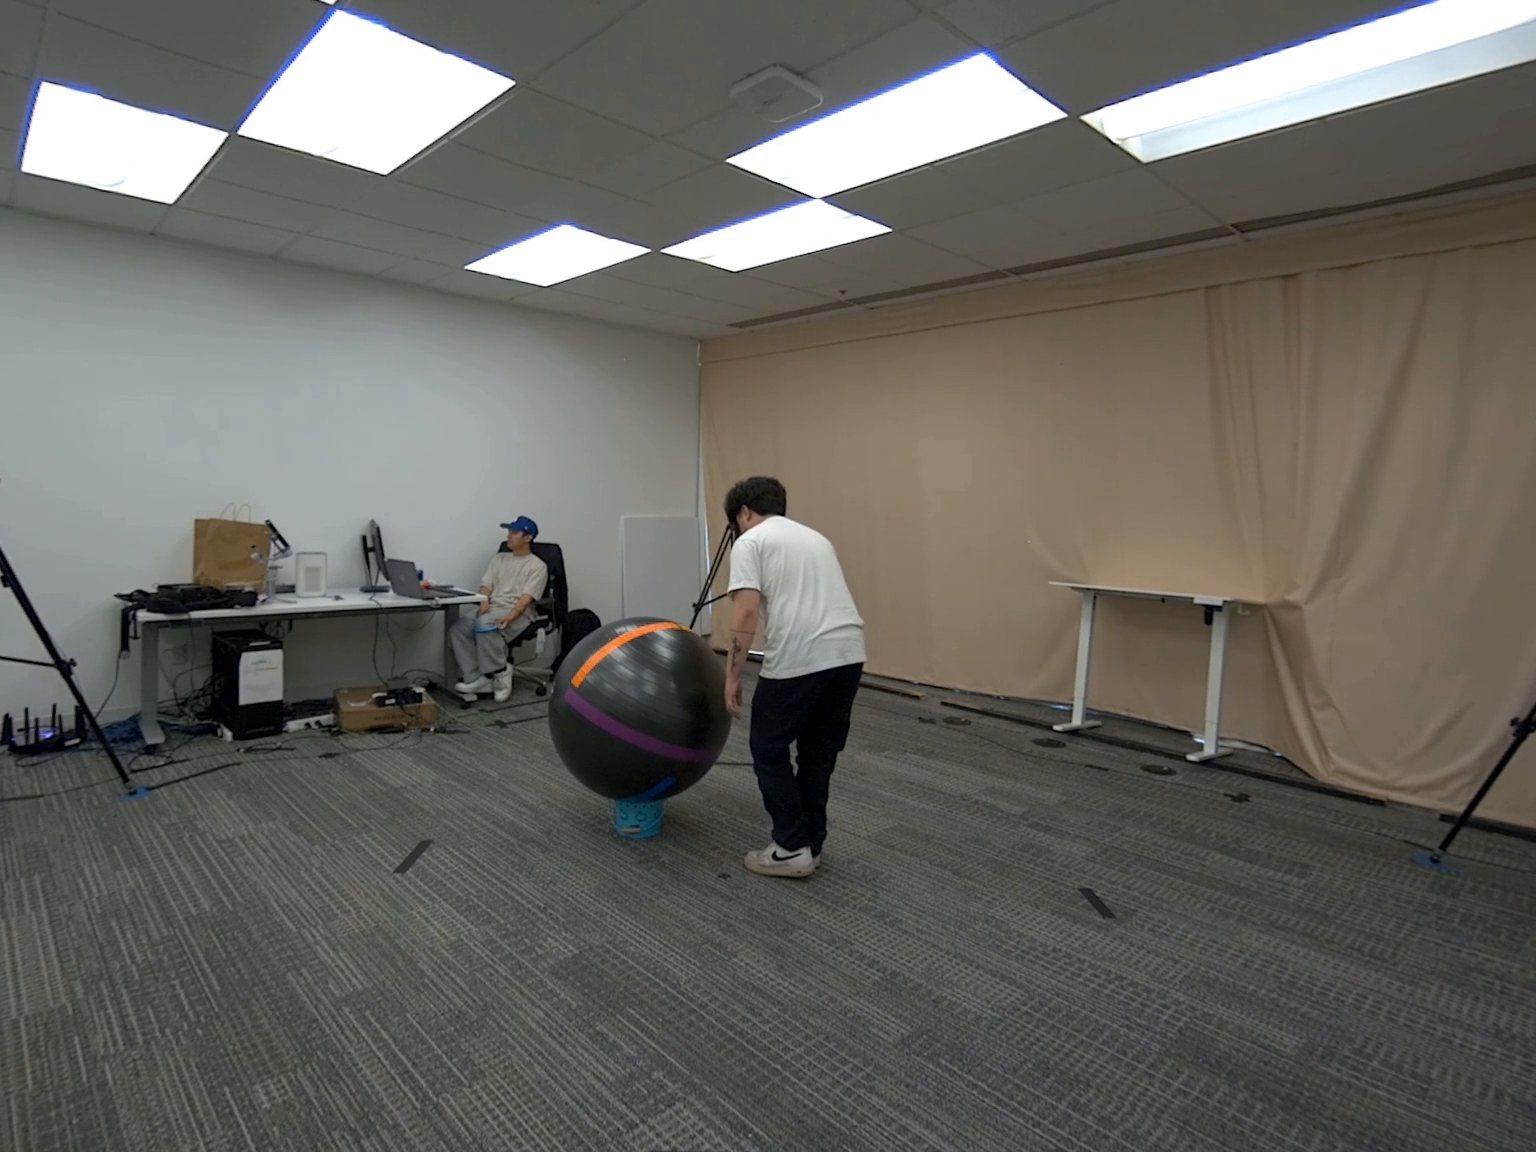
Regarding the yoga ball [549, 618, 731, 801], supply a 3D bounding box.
[{"bbox_3d":[-0.533,0.548,3.511,0.757,0.756,0.761,1,4,-1],"label":"yoga ball"}]
